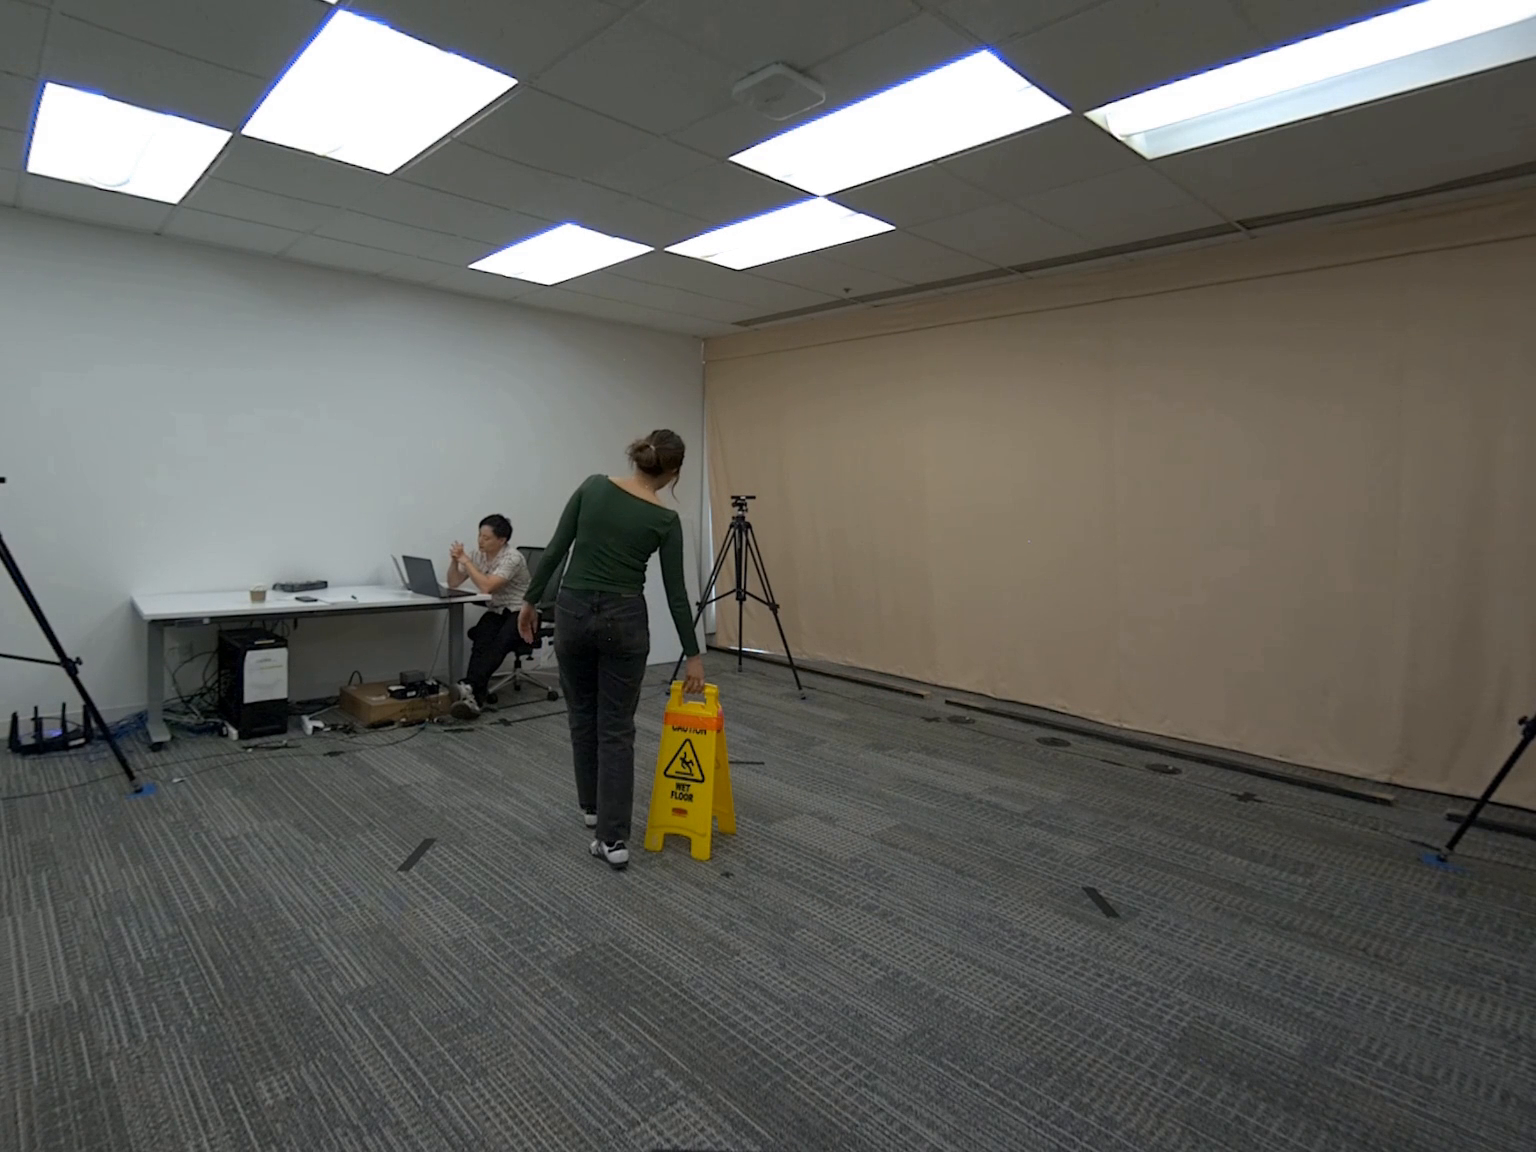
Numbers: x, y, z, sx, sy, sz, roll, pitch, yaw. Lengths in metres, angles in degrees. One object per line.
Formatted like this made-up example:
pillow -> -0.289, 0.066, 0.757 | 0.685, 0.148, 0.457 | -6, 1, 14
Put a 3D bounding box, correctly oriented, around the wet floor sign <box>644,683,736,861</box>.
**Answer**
wet floor sign -> -0.313, 0.750, 3.387 | 0.287, 0.644, 0.286 | 1, 4, 20
